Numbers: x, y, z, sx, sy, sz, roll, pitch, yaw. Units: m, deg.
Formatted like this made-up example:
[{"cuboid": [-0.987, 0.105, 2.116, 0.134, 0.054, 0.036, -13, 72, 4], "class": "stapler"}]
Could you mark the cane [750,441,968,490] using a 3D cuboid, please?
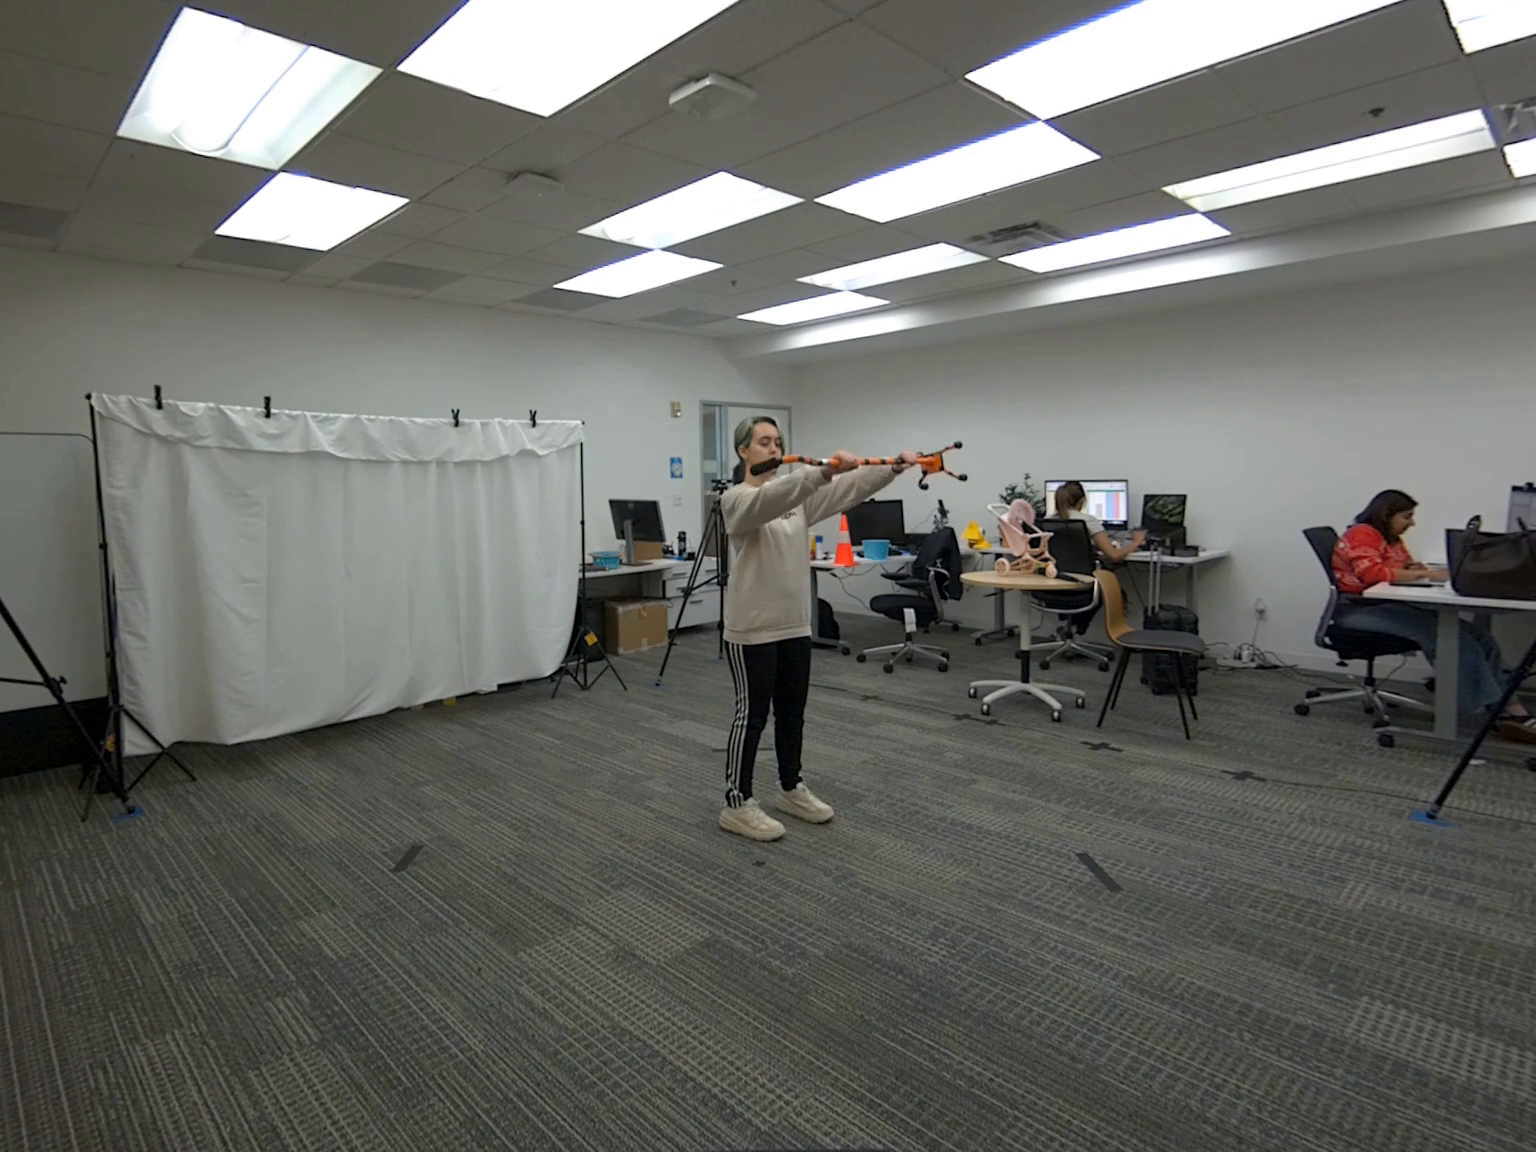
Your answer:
[{"cuboid": [0.331, -0.374, 2.955, 0.885, 0.152, 0.211, -8, -4, -42], "class": "cane"}]
